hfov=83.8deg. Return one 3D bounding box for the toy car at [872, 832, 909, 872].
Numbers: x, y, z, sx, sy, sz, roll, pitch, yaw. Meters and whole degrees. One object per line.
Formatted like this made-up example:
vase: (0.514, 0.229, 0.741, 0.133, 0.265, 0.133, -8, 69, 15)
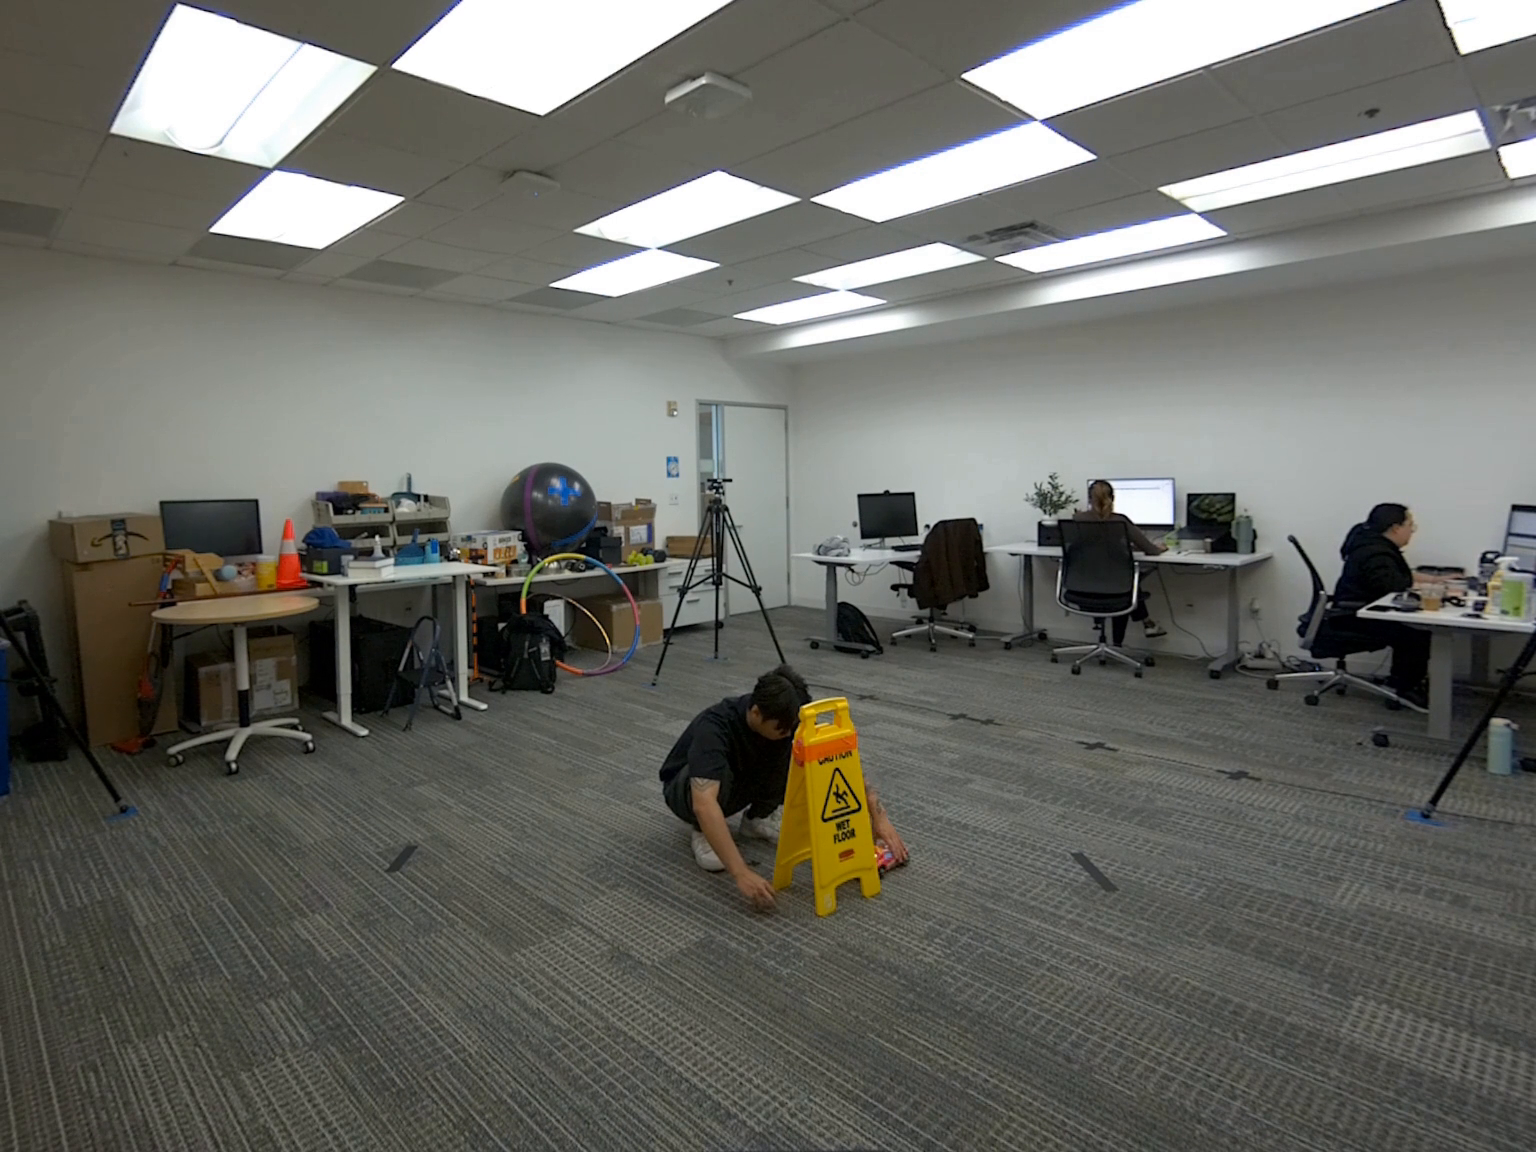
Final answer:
toy car: (0.391, 1.010, 3.040, 0.246, 0.083, 0.134, 10, -3, -41)
